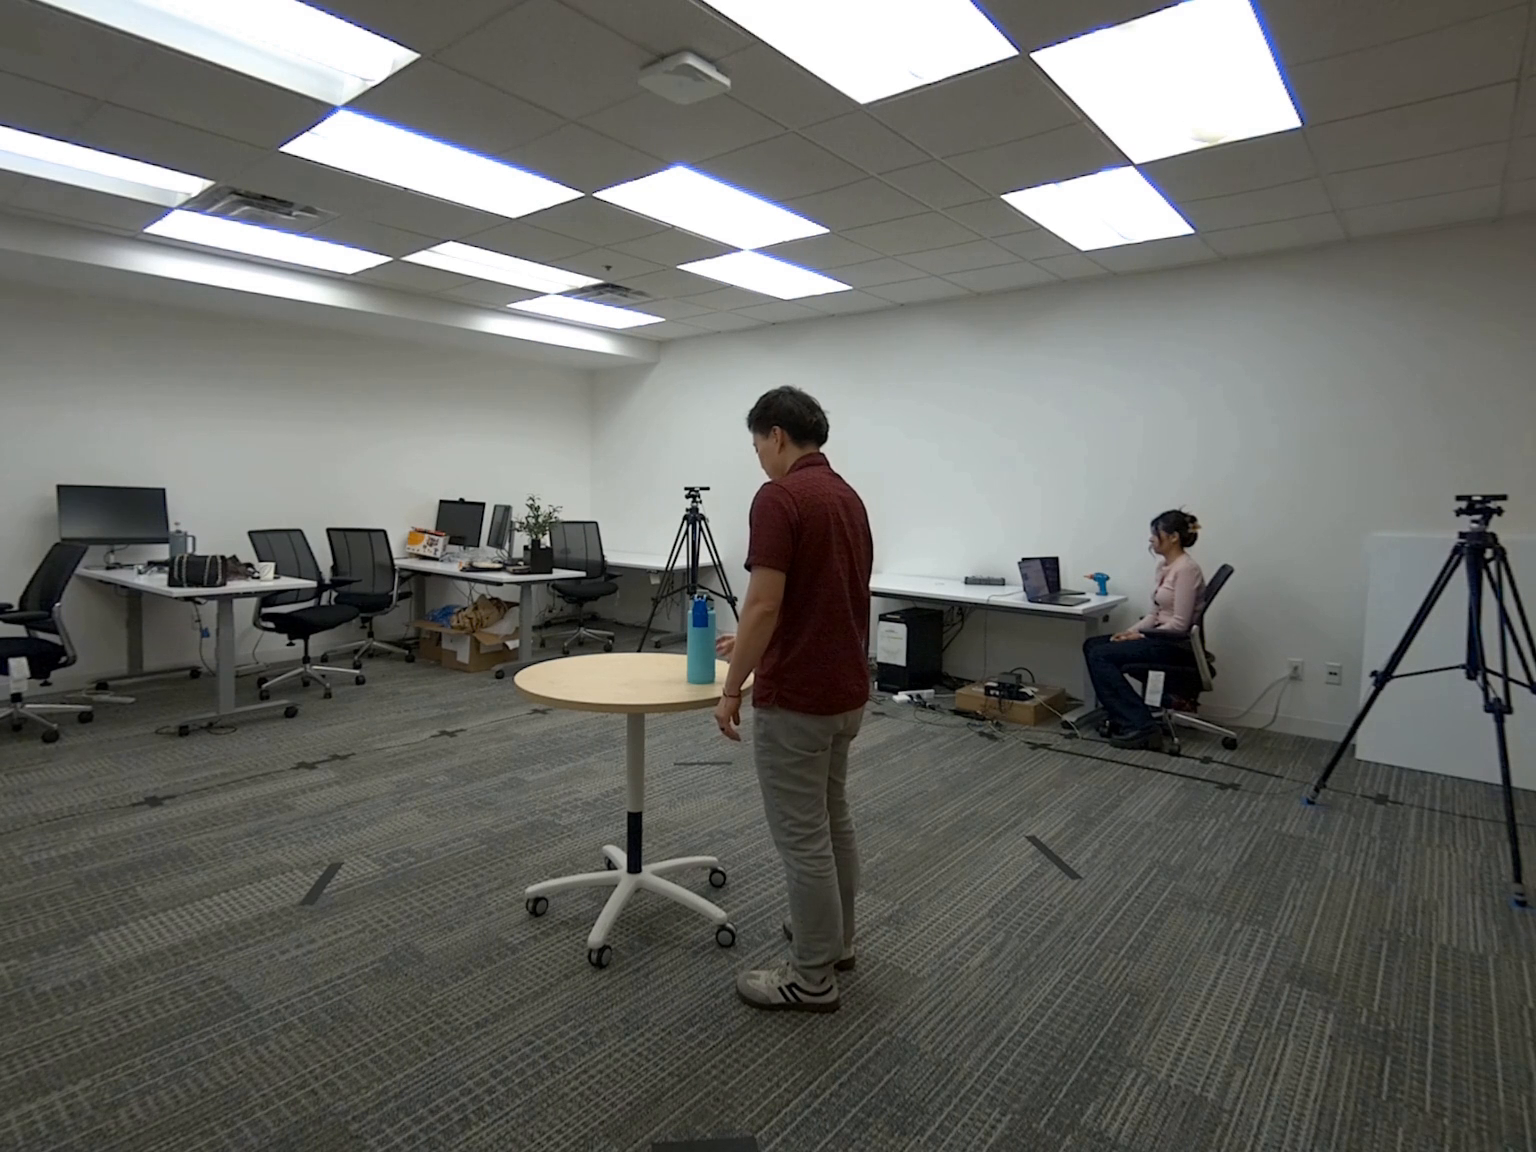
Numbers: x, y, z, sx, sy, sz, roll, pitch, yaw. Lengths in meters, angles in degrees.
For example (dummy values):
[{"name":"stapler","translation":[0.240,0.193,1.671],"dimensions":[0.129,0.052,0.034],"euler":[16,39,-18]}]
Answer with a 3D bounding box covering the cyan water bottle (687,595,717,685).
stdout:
[{"name":"cyan water bottle","translation":[-0.215,0.187,2.653],"dimensions":[0.092,0.283,0.092],"euler":[2,2,-2]}]
